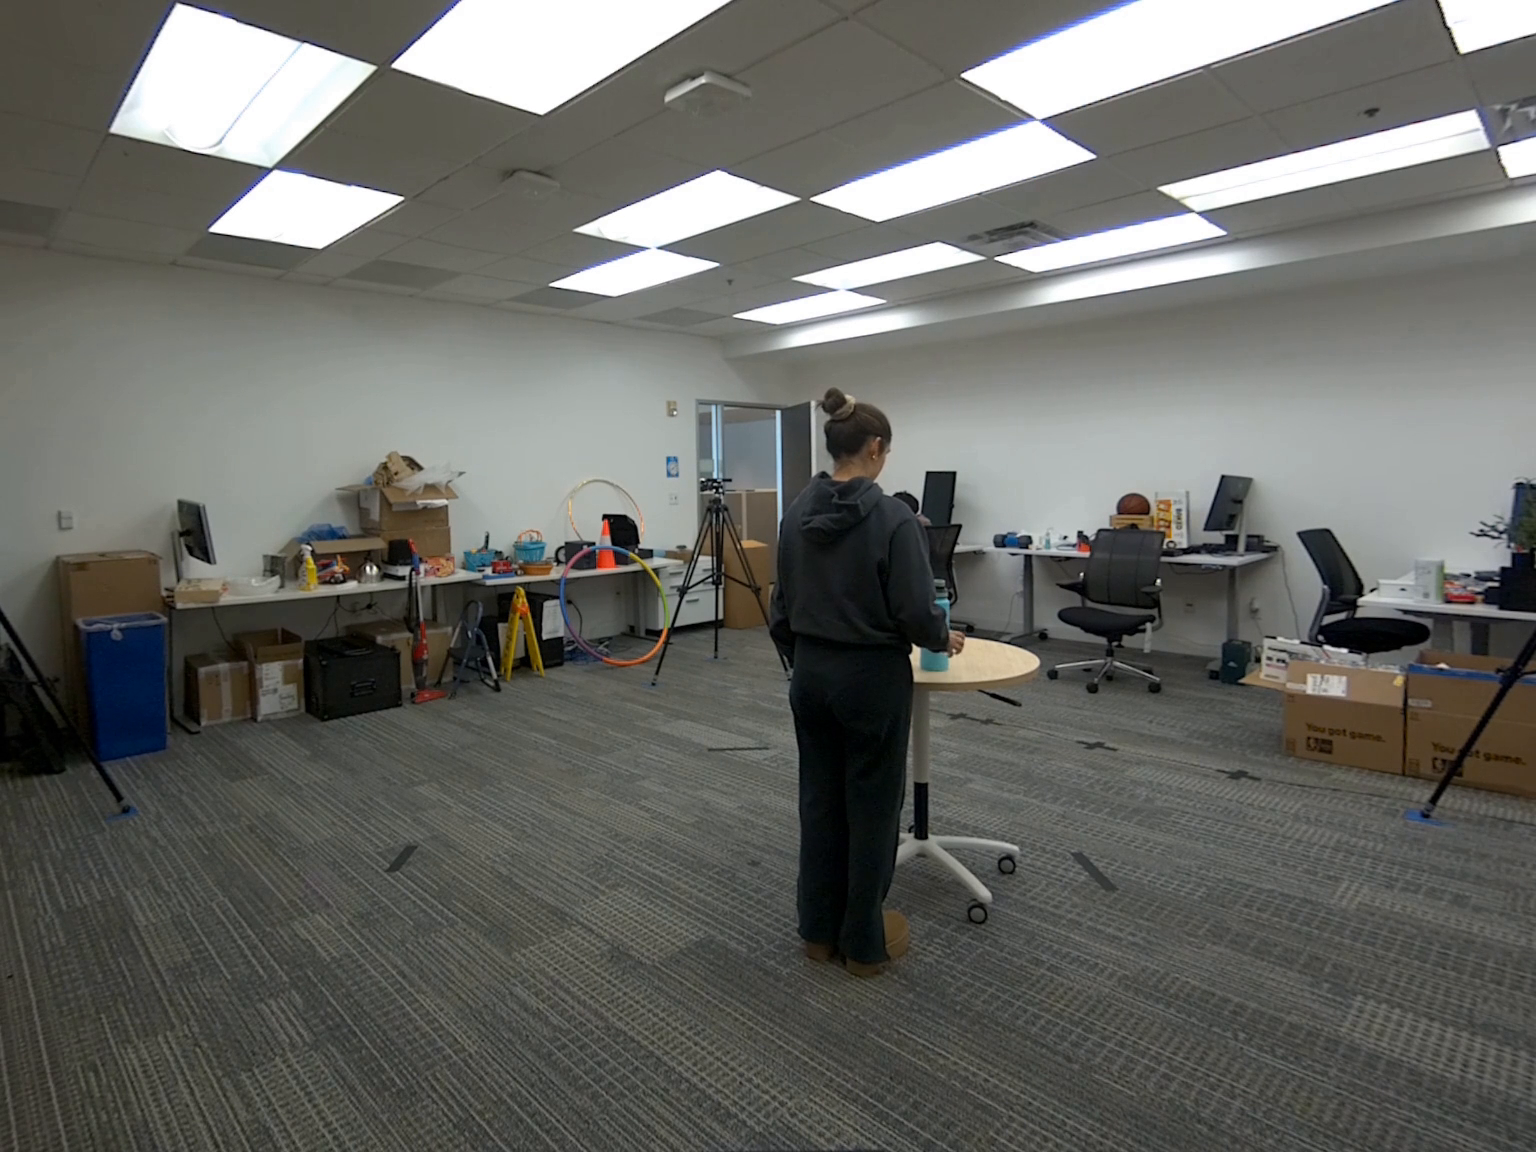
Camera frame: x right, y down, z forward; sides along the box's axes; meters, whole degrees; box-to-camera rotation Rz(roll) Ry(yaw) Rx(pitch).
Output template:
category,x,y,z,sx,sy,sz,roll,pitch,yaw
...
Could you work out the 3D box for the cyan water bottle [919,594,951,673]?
category,x,y,z,sx,sy,sz,roll,pitch,yaw
cyan water bottle,0.537,0.159,2.702,0.092,0.282,0.093,-1,5,-2
